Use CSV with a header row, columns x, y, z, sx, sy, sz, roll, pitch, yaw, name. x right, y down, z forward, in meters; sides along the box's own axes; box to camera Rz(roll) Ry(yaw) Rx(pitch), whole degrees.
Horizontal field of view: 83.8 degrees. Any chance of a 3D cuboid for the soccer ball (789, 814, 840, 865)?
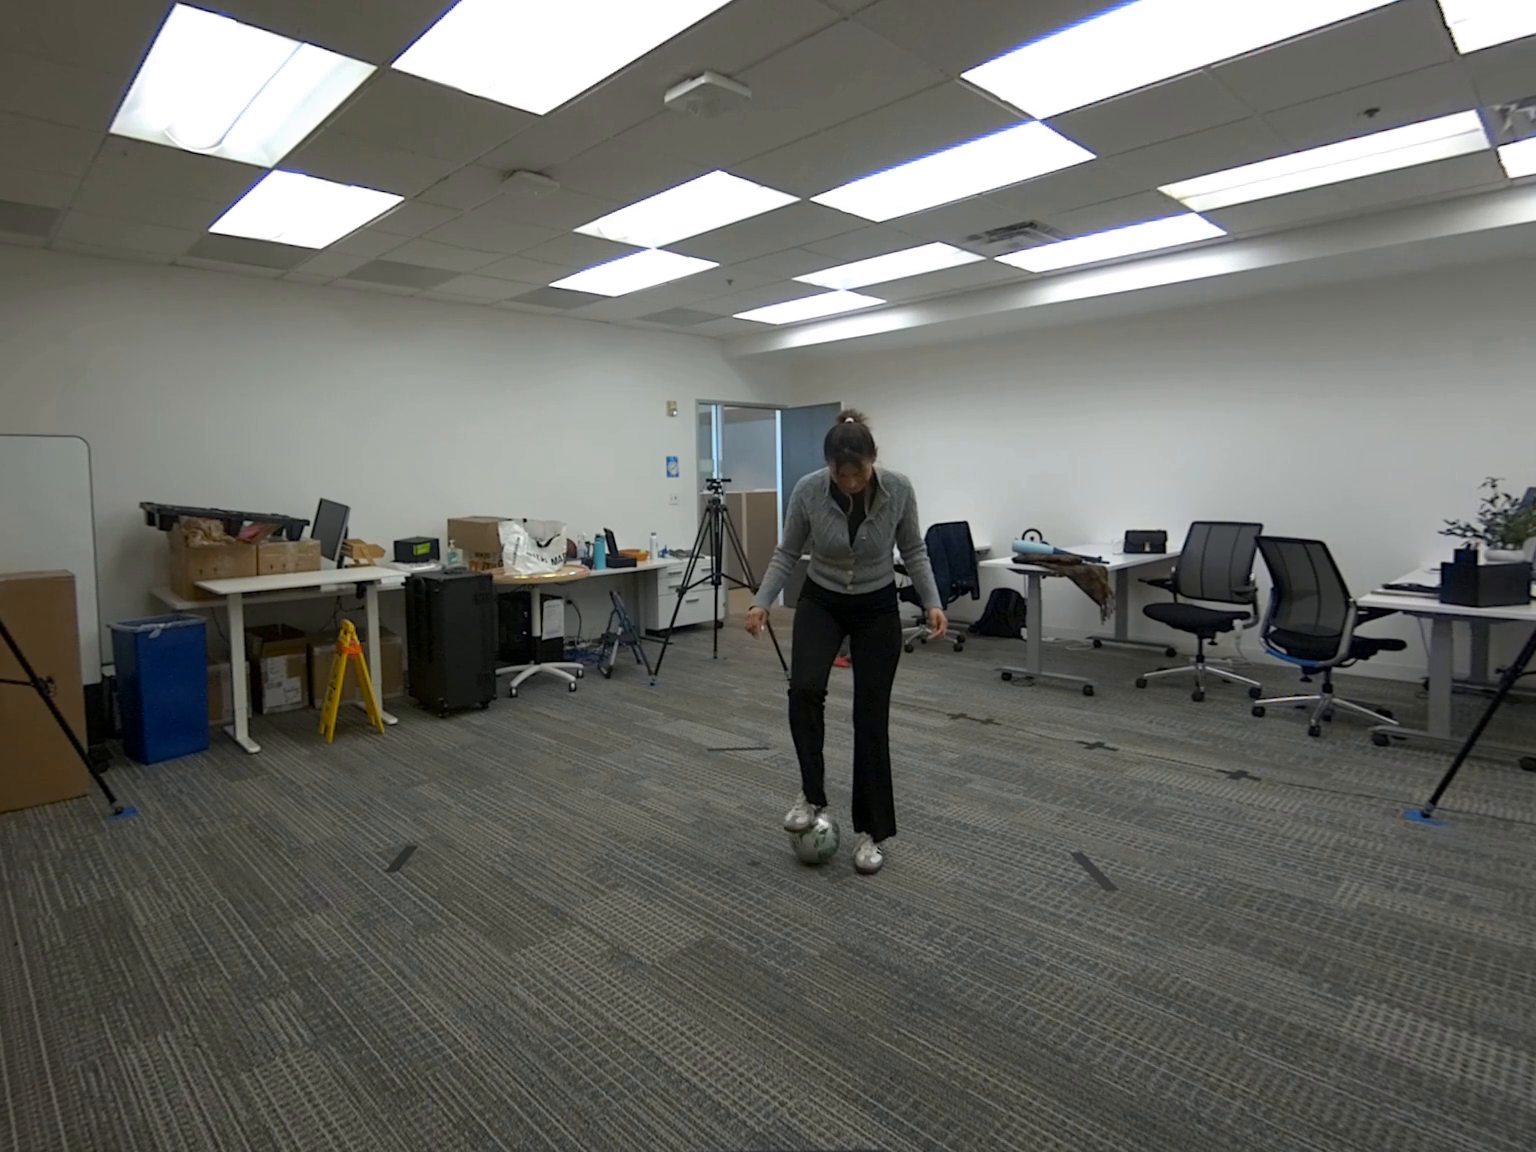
x,y,z,sx,sy,sz,roll,pitch,yaw,name
0.164,0.945,3.106,0.187,0.187,0.188,-1,5,-2,soccer ball
